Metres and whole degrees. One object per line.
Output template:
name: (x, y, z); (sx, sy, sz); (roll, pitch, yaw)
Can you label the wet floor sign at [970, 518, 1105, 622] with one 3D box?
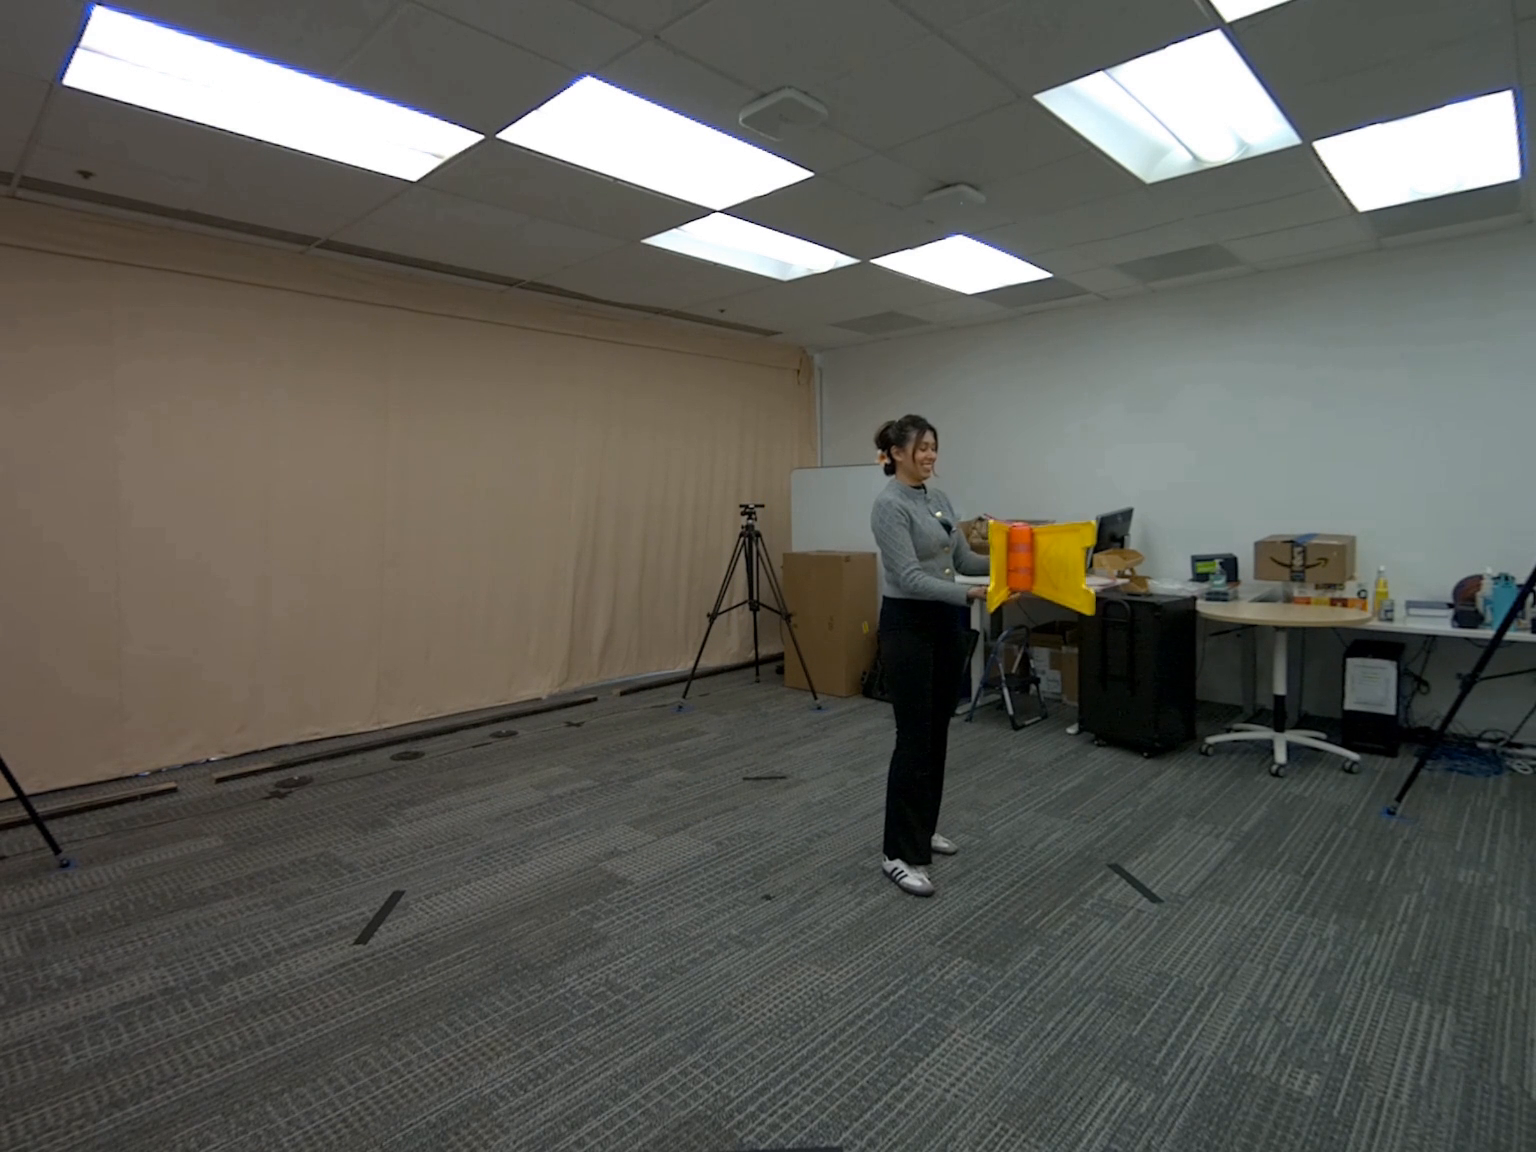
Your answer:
wet floor sign: (0.862, -0.042, 2.804); (0.292, 0.281, 0.641); (2, 5, 7)
